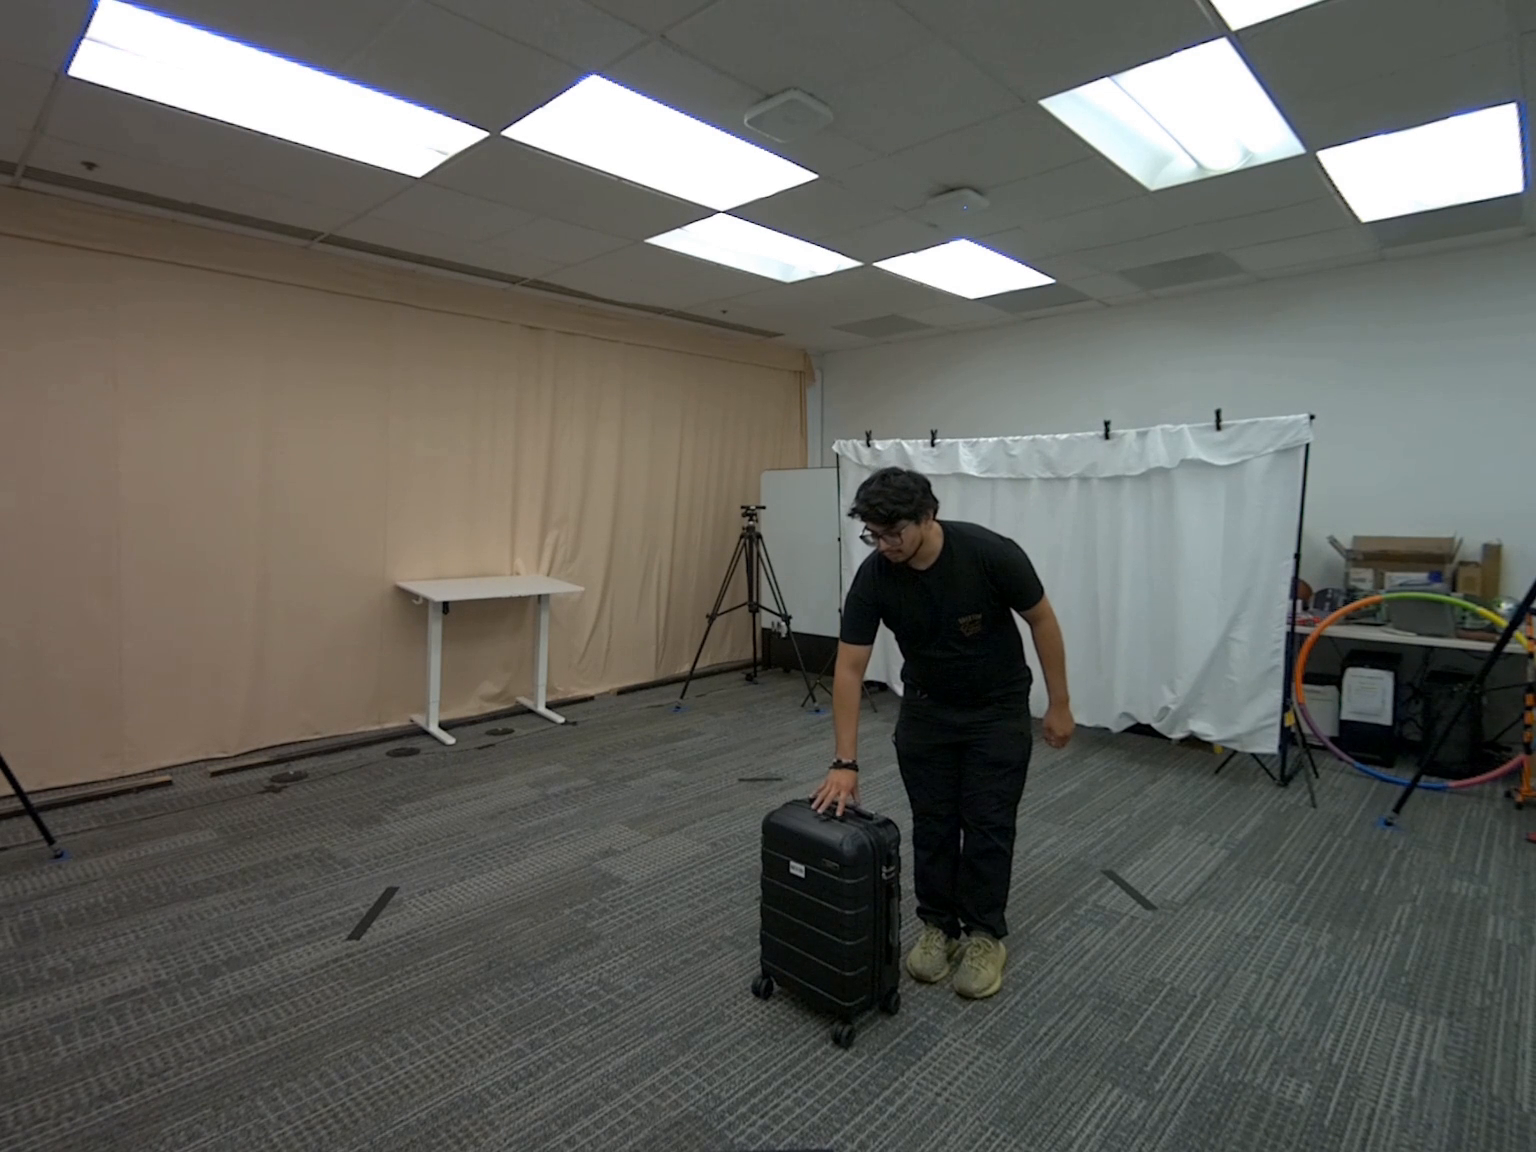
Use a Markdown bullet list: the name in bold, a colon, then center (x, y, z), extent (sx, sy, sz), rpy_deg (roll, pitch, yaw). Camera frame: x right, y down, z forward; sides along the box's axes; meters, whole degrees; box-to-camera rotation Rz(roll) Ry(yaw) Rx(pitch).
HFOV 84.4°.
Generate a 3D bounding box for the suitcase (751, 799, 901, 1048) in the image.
- **suitcase**: center (0.178, 0.923, 2.349), extent (0.240, 0.549, 0.388), rpy_deg (-1, 3, -45)
